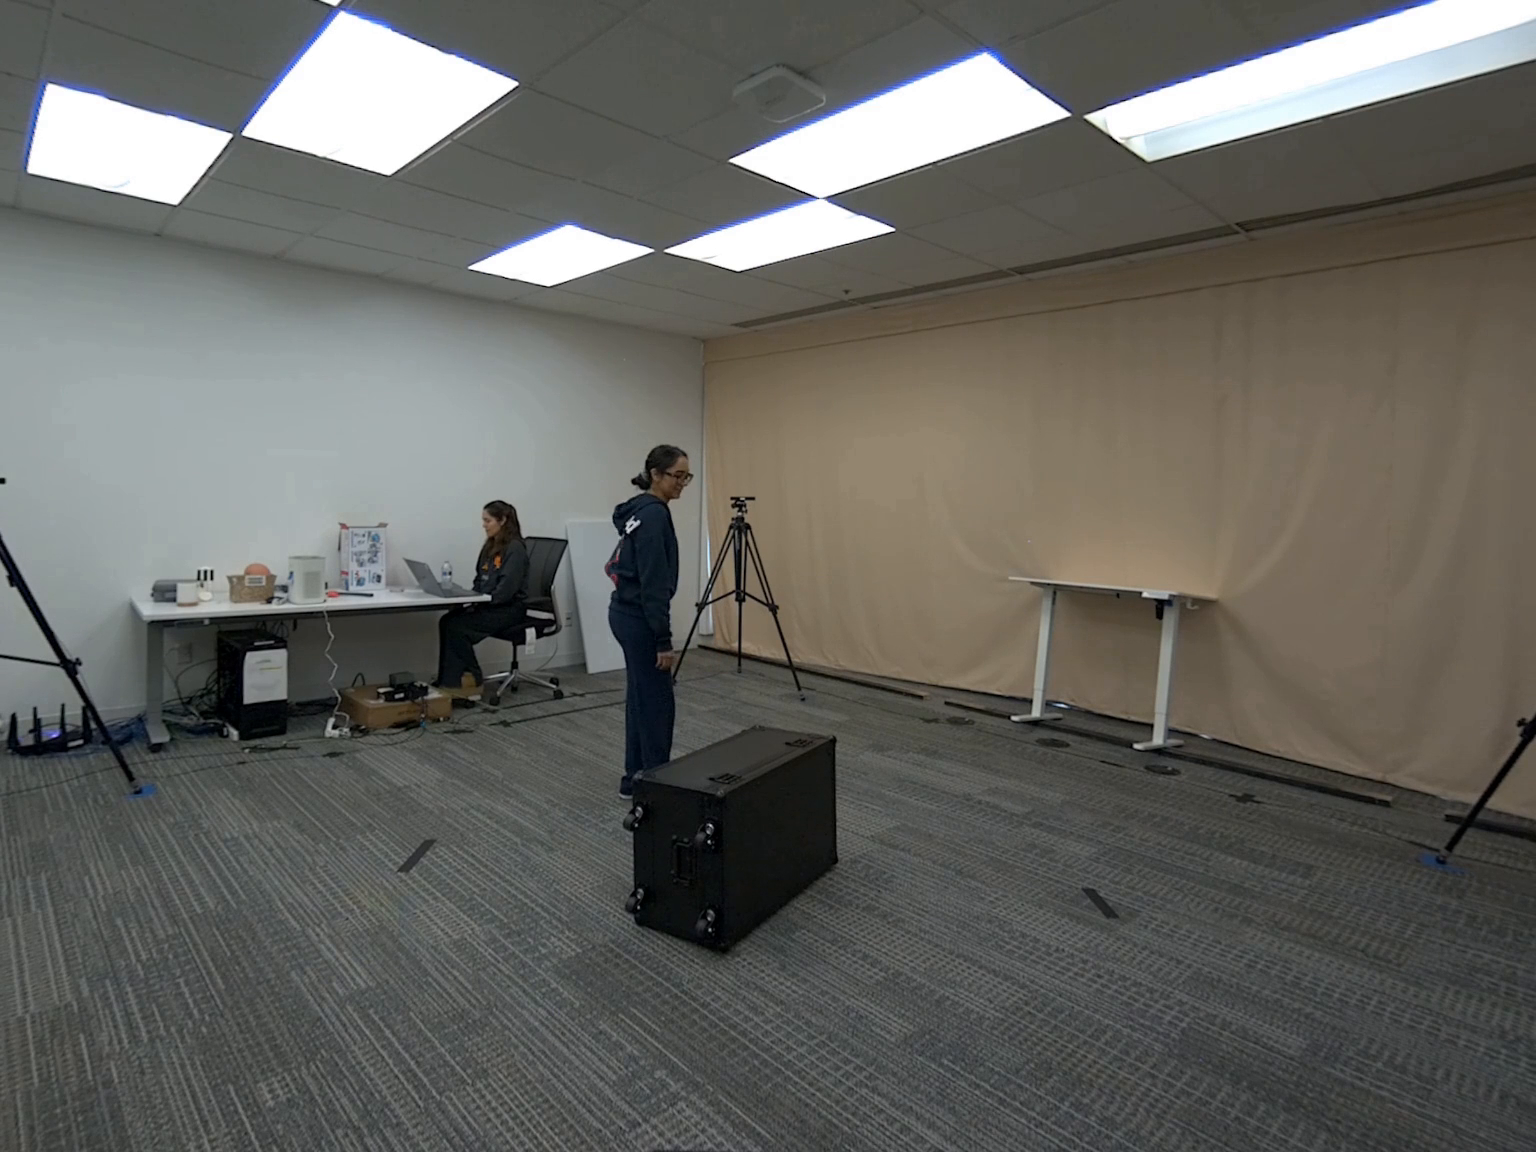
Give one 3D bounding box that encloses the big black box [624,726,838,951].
[{"bbox_3d":[-0.121,0.866,2.941,0.405,0.520,0.845,0,3,30],"label":"big black box"}]
